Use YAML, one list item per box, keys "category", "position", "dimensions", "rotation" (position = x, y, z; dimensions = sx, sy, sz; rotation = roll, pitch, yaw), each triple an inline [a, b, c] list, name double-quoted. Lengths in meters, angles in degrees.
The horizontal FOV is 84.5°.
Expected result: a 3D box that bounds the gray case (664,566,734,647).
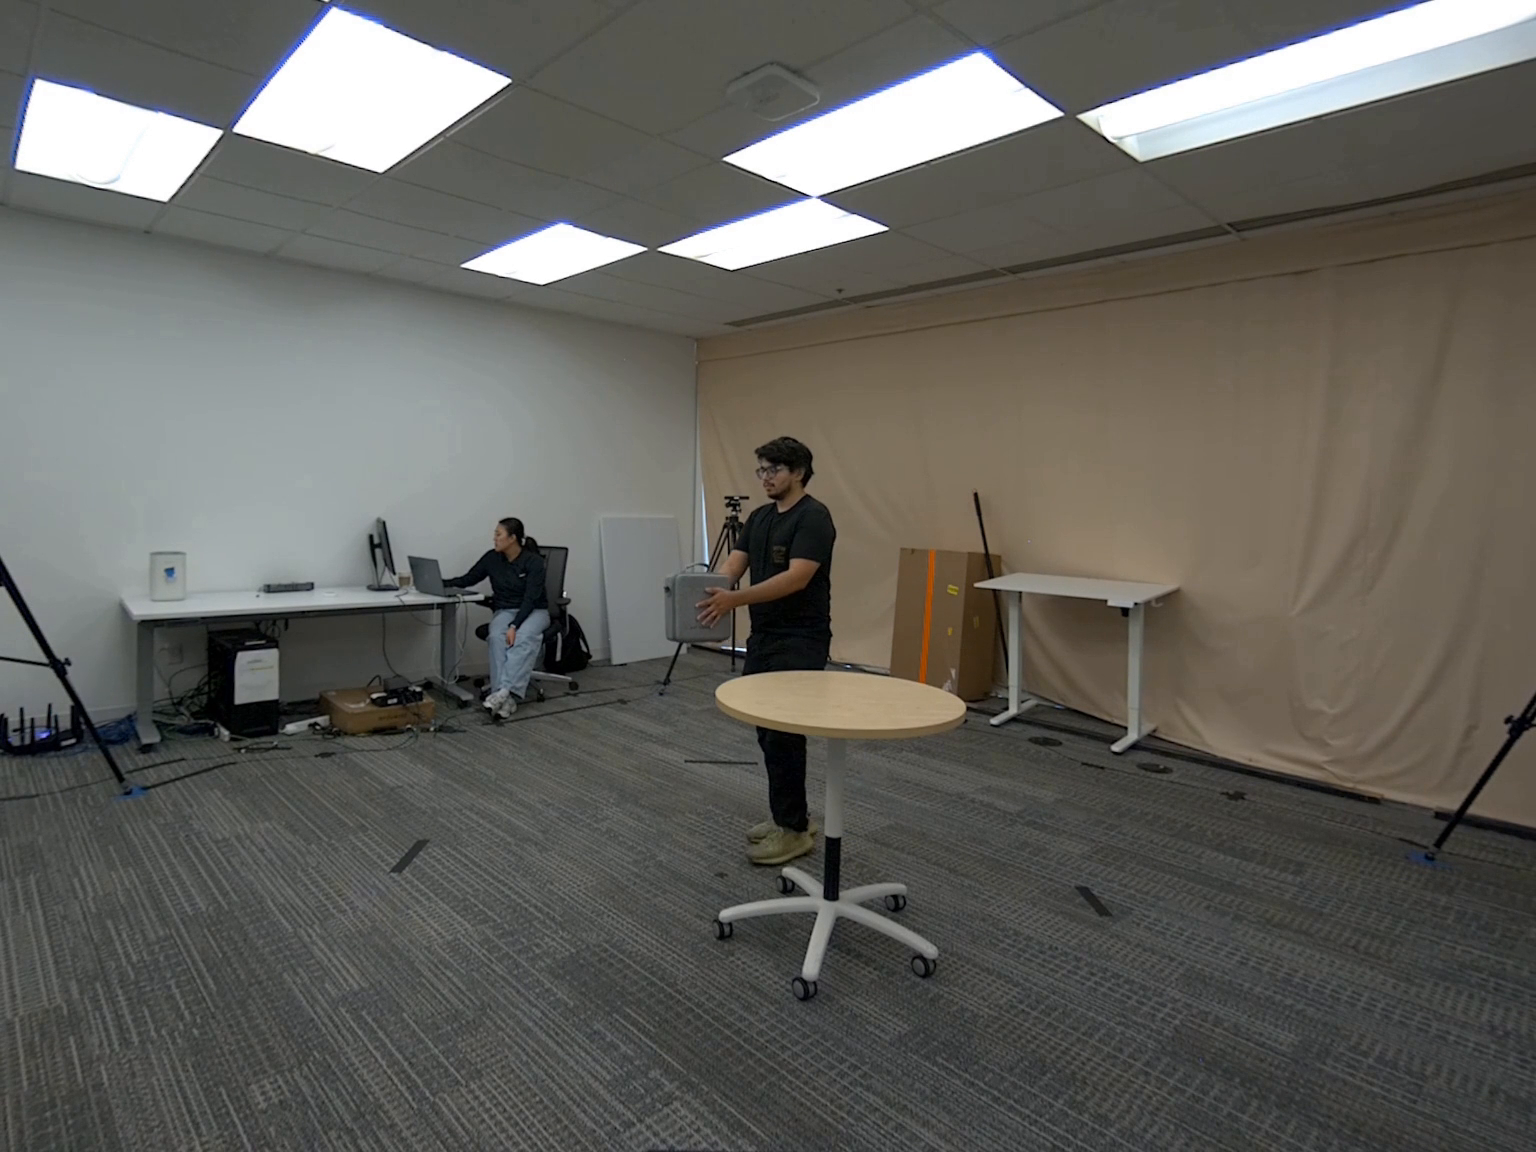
- category: "gray case"
  position: [-0.270, 0.116, 3.128]
  dimensions: [0.251, 0.261, 0.106]
  rotation: [2, -5, -38]
